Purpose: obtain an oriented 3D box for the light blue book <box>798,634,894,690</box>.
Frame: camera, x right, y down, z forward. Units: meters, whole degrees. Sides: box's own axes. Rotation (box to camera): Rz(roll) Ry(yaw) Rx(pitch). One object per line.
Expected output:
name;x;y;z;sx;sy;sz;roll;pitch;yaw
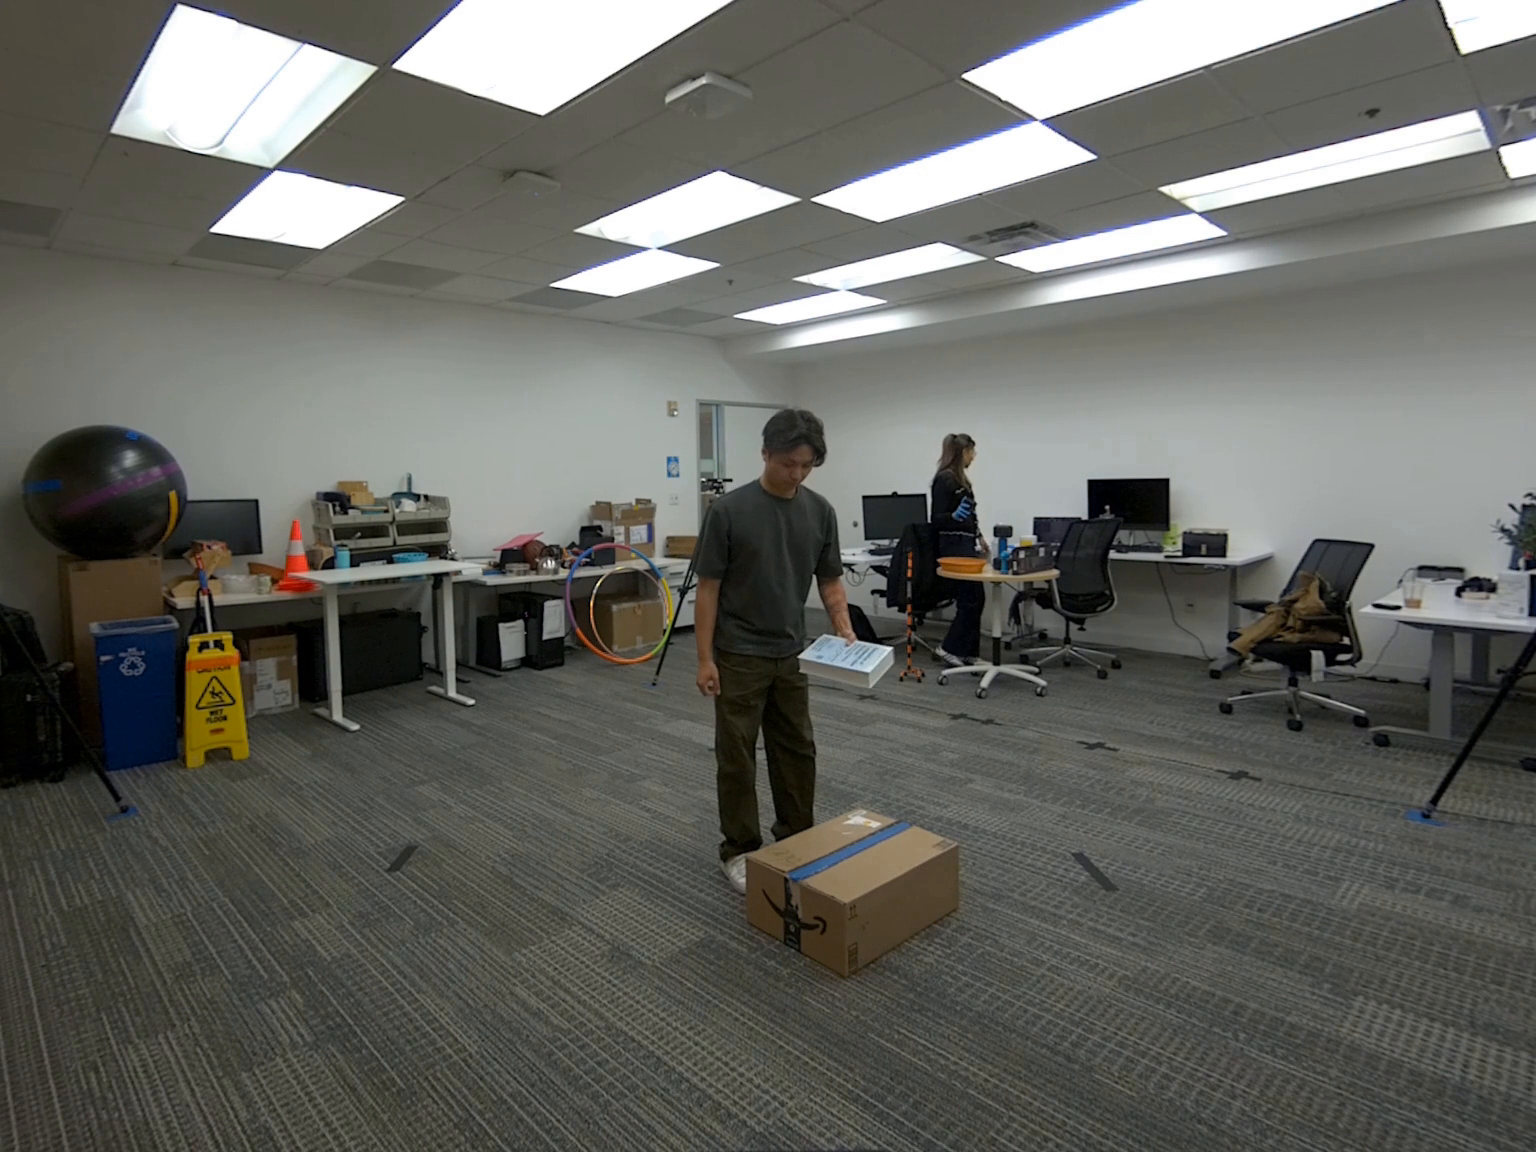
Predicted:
light blue book;0.251;0.278;2.825;0.269;0.058;0.189;8;26;33
